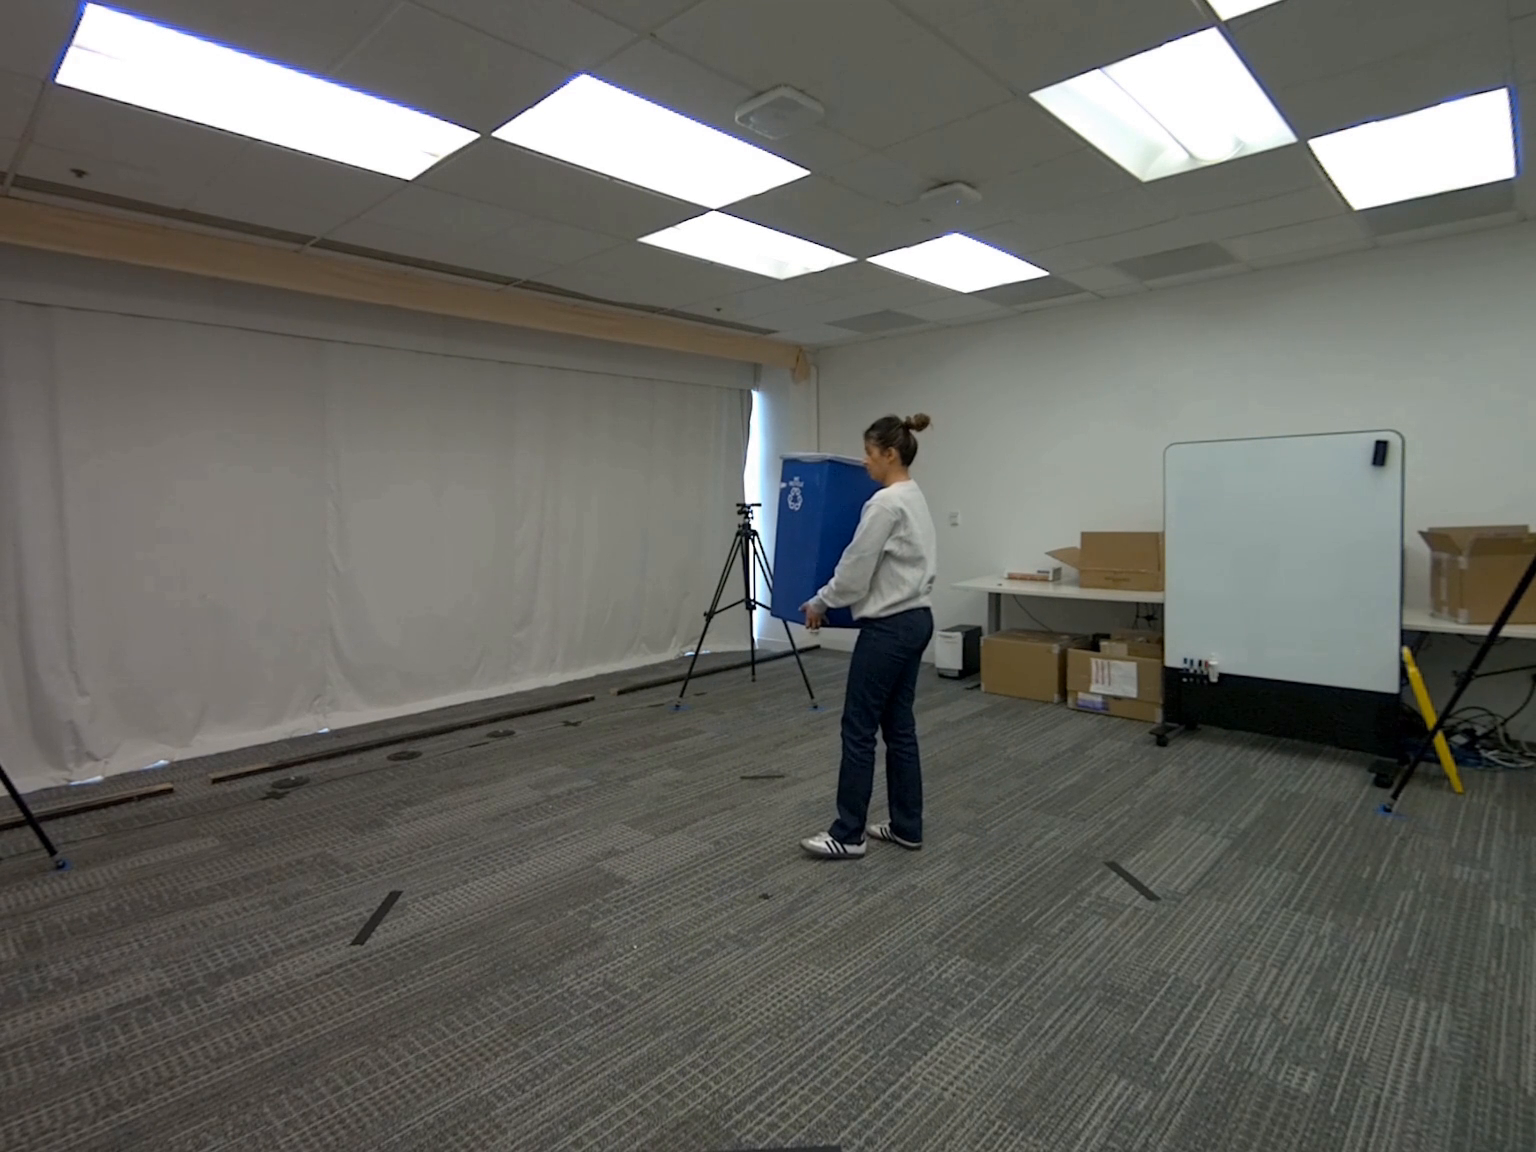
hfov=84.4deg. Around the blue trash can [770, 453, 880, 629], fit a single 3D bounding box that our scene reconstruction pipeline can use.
[{"bbox_3d":[0.259,-0.153,3.641,0.367,0.712,0.386,4,3,-32],"label":"blue trash can"}]
